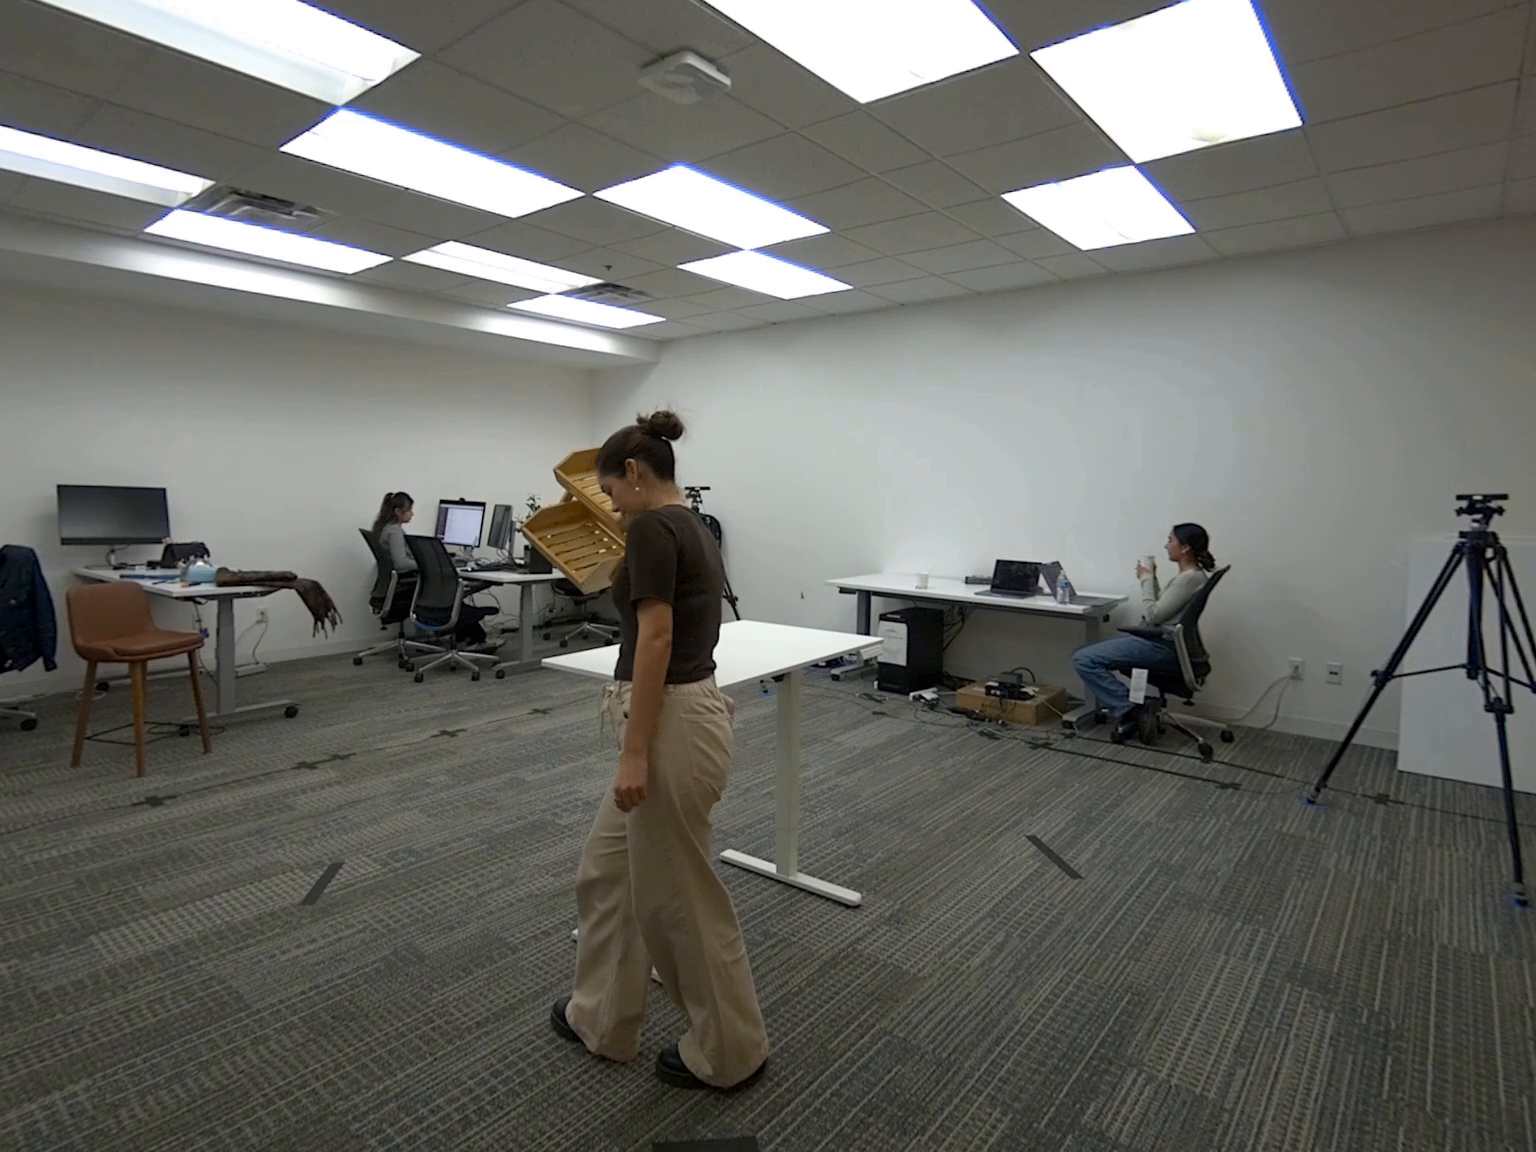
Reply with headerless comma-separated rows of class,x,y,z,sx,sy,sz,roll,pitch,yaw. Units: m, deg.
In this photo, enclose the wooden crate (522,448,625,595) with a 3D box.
wooden crate,-0.491,-0.175,2.394,0.296,0.268,0.337,-21,47,-42
